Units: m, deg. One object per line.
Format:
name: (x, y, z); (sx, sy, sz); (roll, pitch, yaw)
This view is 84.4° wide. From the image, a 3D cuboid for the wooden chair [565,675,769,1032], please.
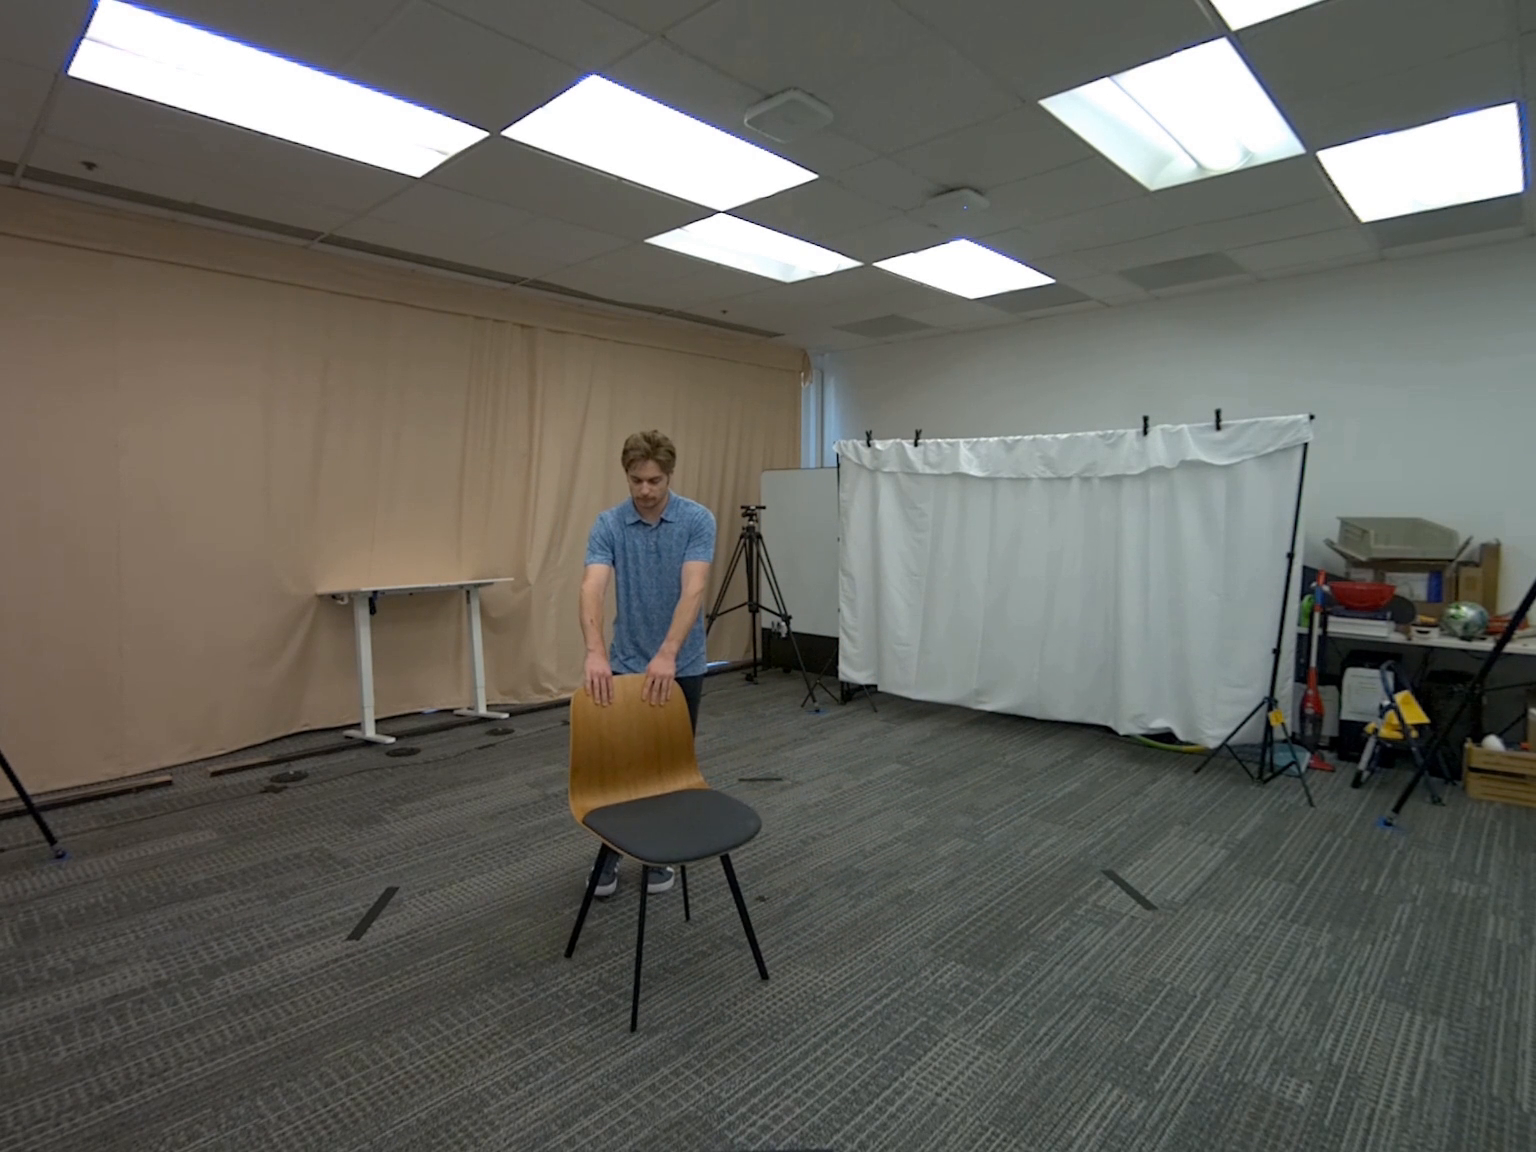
wooden chair: (-0.306, 0.757, 2.501); (0.464, 0.877, 0.538); (-3, 0, -35)
